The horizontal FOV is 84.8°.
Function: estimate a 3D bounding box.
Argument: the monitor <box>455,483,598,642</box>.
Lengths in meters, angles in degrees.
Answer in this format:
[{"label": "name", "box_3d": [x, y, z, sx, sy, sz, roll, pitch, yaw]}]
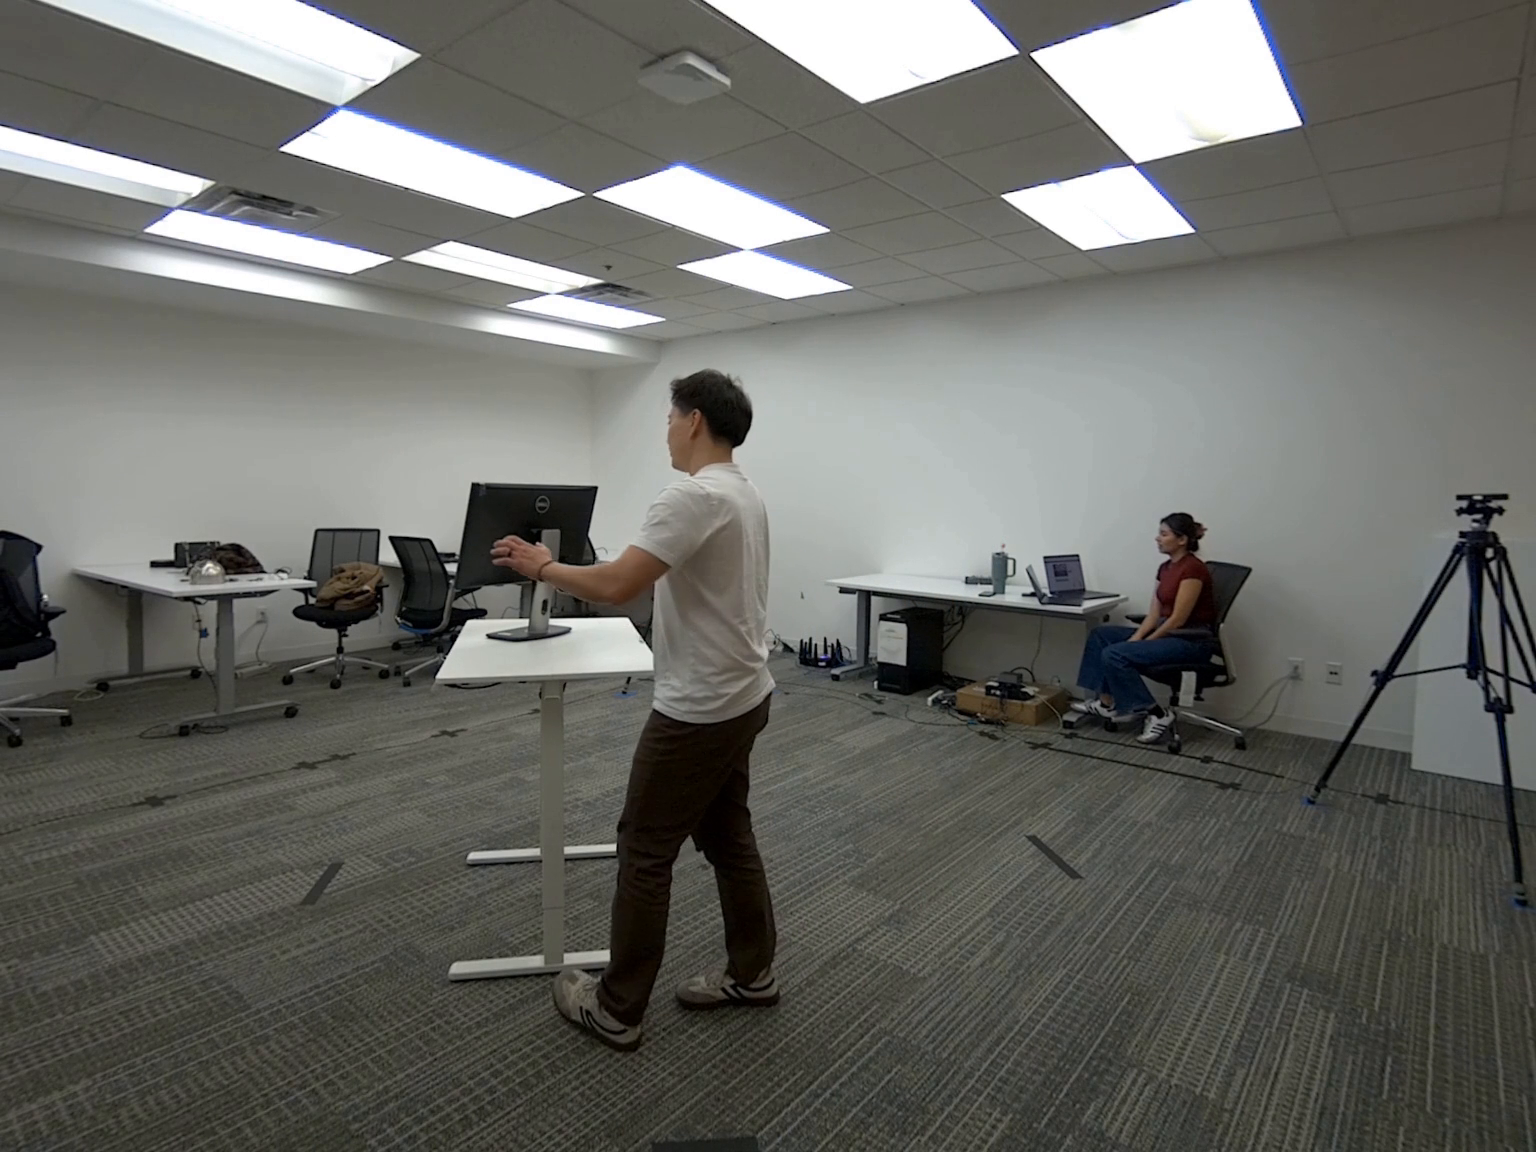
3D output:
[{"label": "monitor", "box_3d": [-0.808, -0.052, 2.877, 0.193, 0.520, 0.524, 6, 6, 33]}]
